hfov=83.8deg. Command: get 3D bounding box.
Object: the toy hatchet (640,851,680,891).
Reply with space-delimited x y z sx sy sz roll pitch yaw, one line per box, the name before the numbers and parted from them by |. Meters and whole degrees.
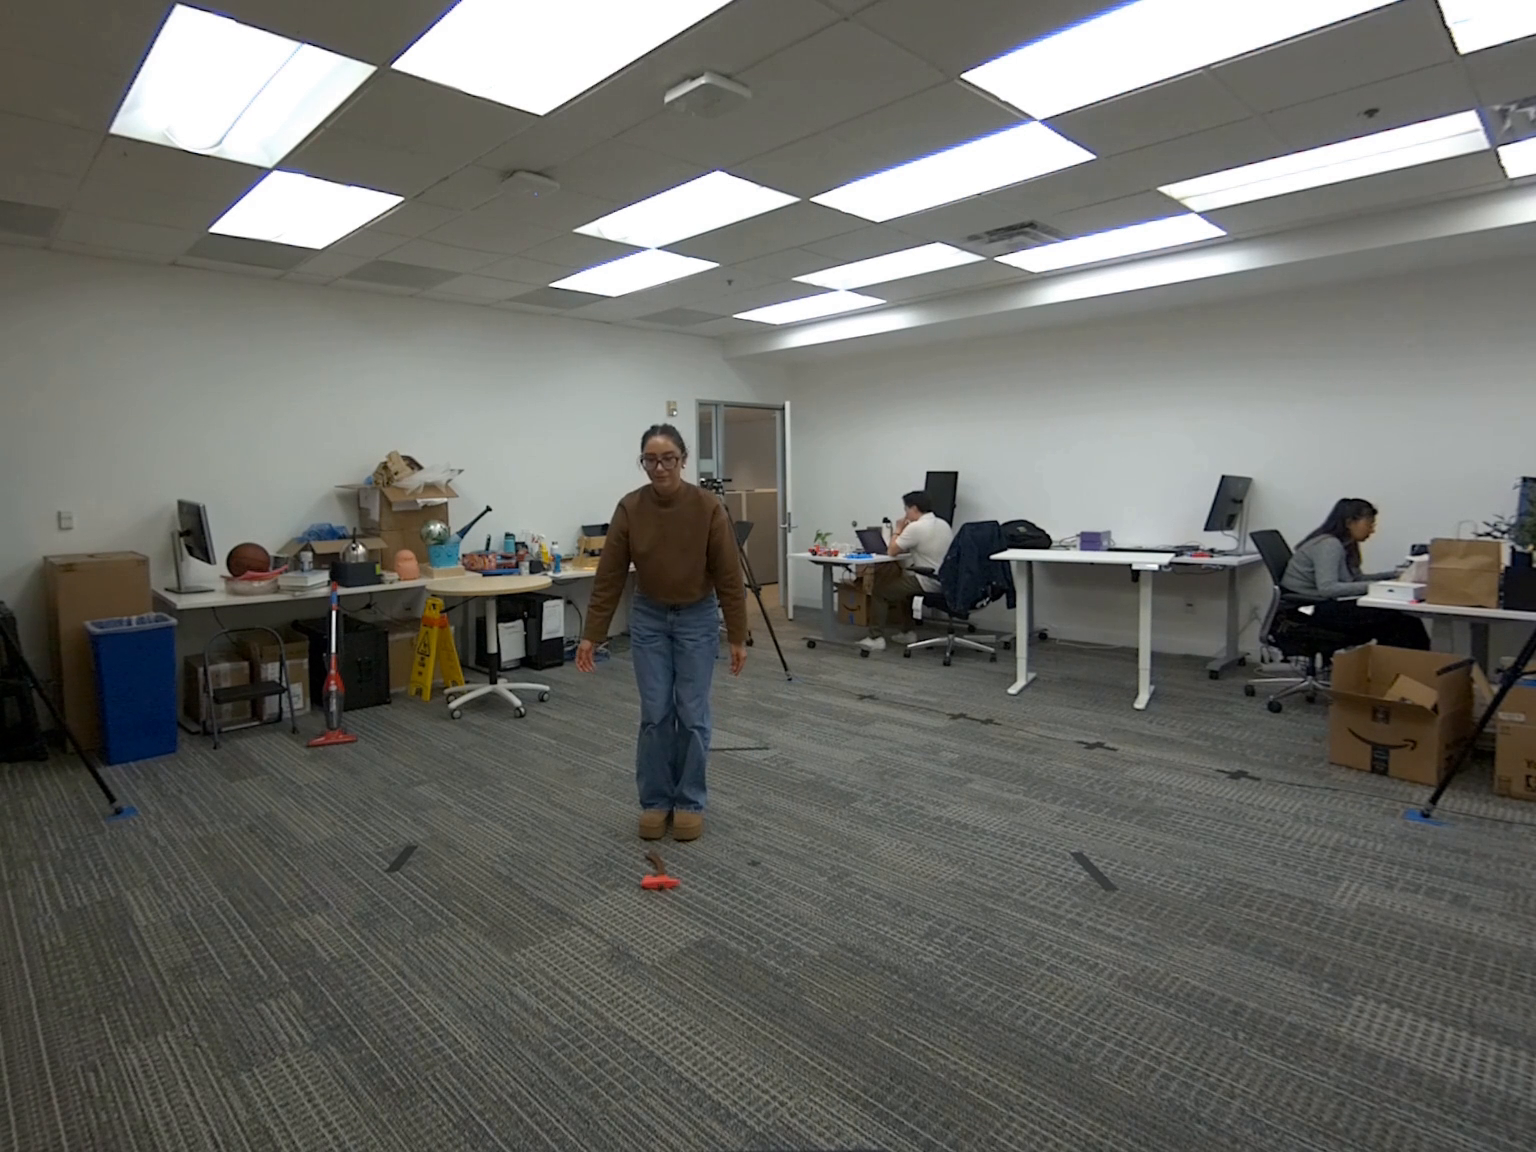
toy hatchet | -0.416 1.051 3.032 0.128 0.029 0.277 -4 6 -26
